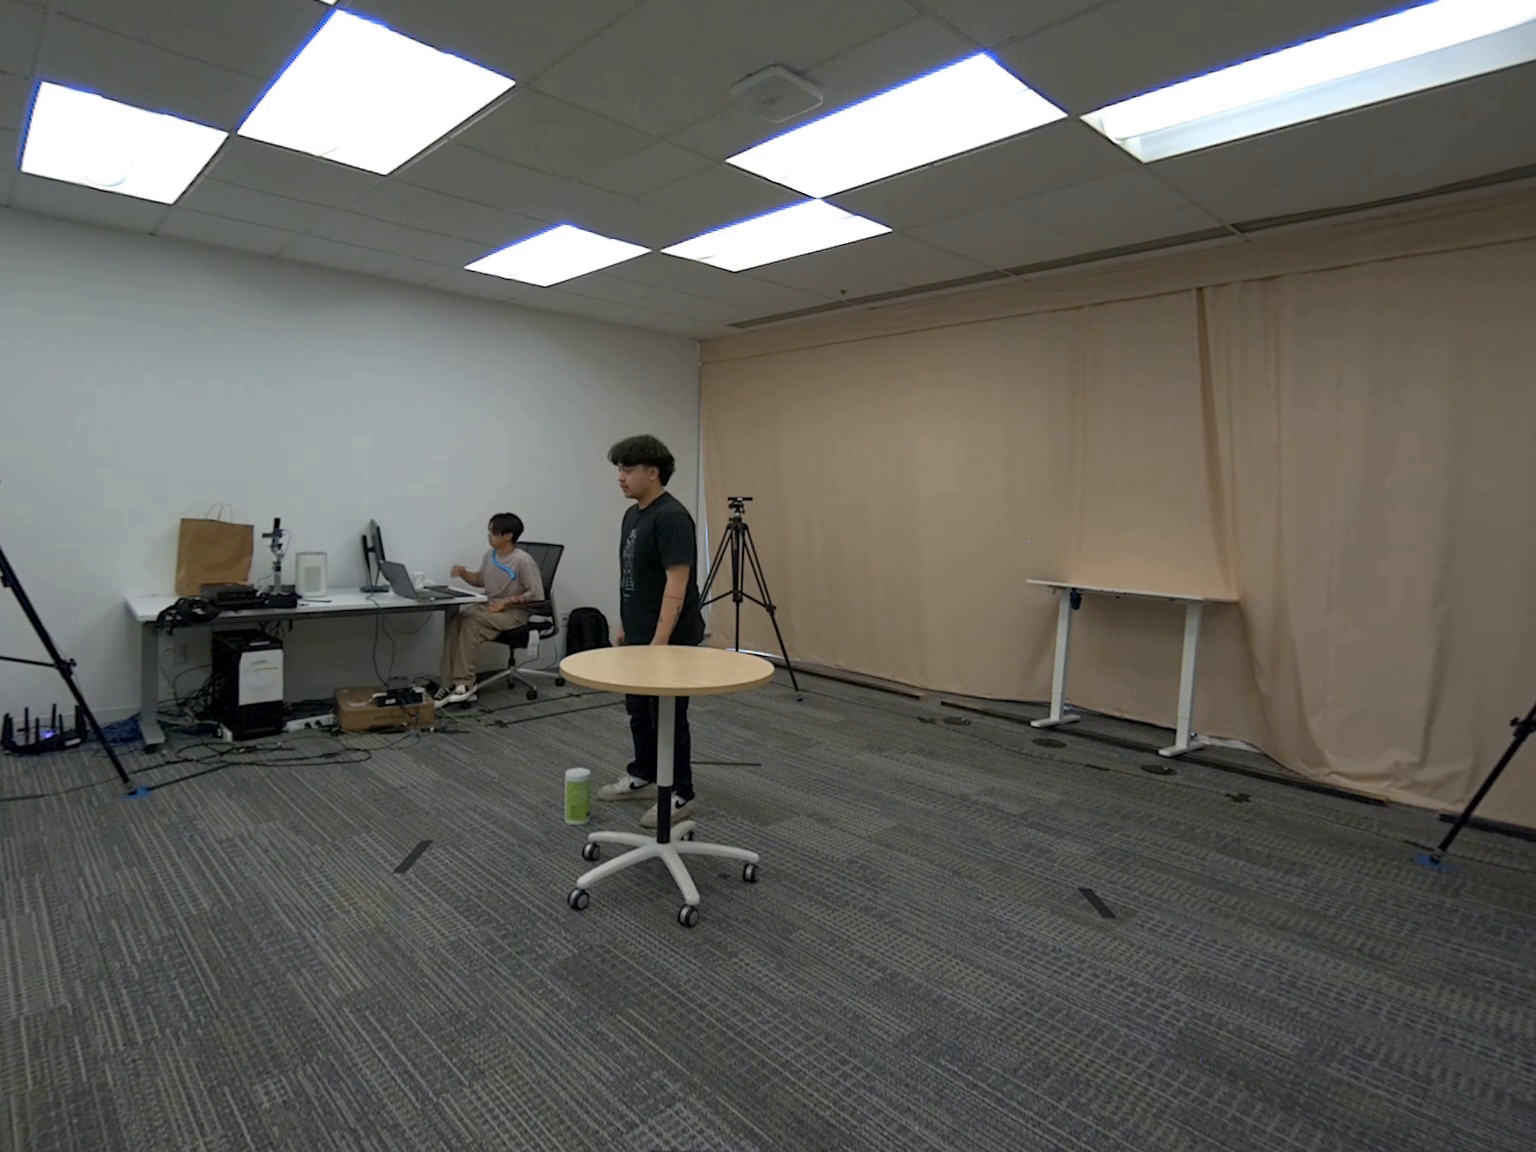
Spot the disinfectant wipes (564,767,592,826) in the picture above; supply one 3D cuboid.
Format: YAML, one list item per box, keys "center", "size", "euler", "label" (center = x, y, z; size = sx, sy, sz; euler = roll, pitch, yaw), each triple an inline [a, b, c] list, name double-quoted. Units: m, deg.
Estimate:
- center: [-0.821, 0.938, 3.606]
  size: [0.118, 0.217, 0.118]
  euler: [2, 4, -2]
  label: "disinfectant wipes"
